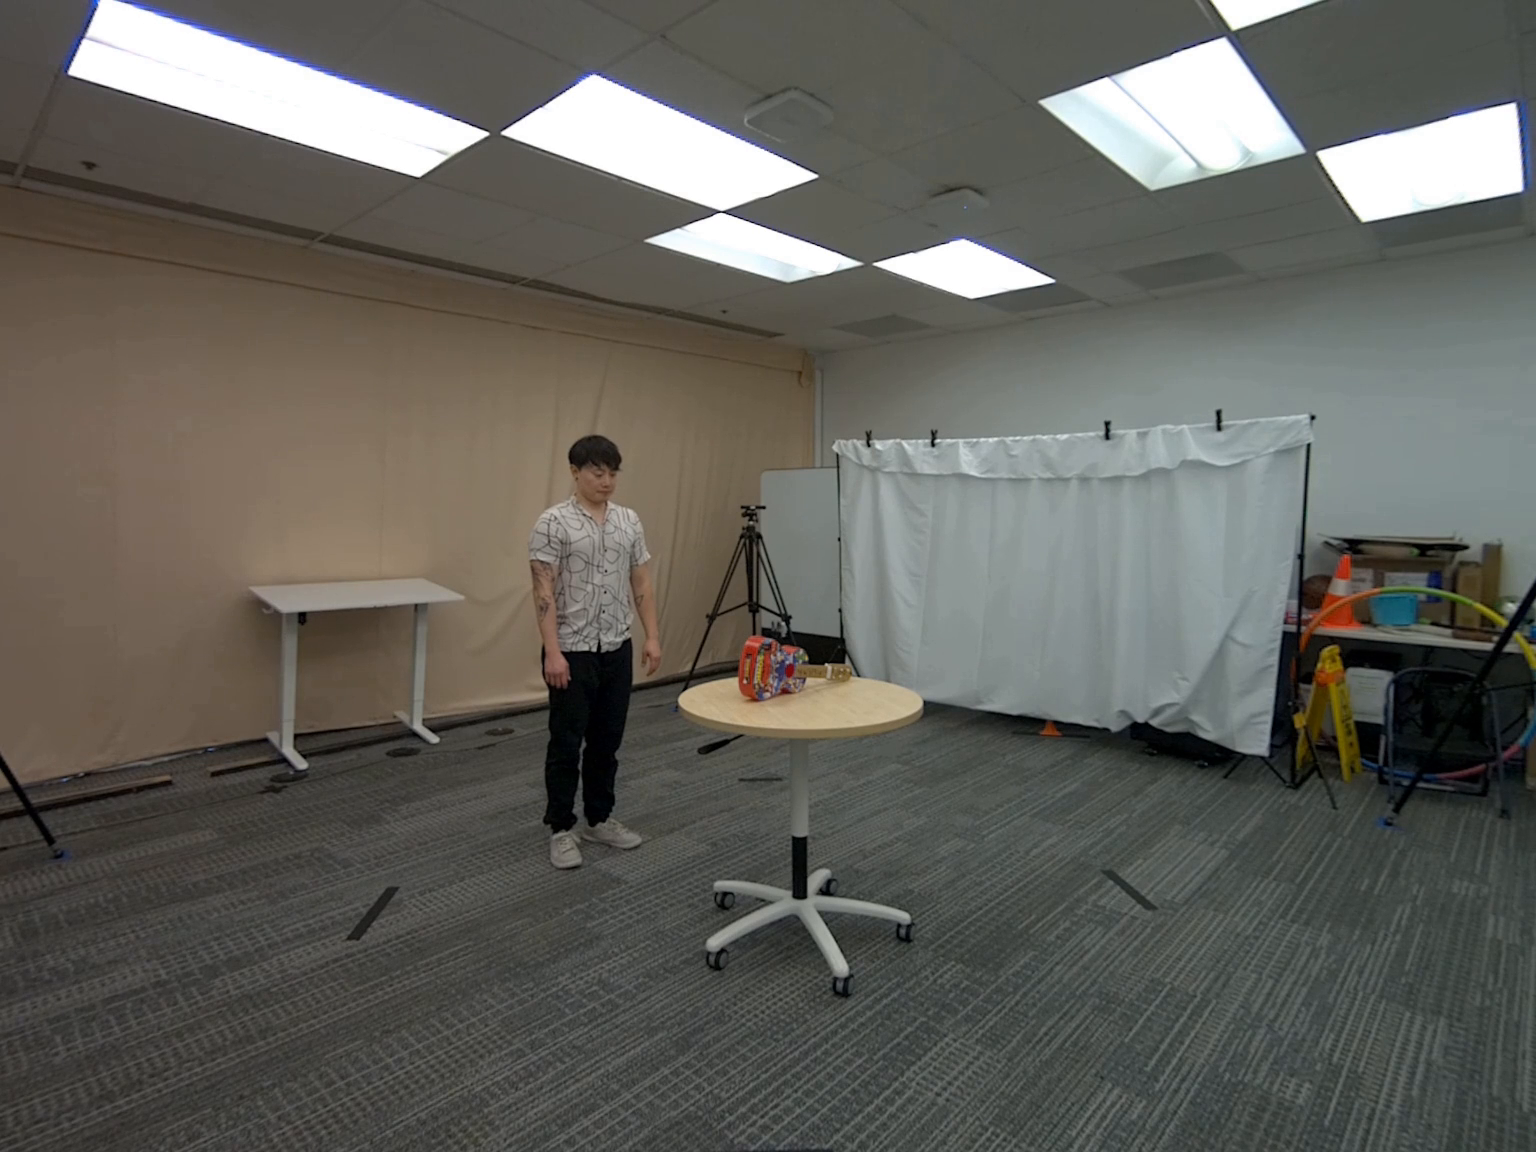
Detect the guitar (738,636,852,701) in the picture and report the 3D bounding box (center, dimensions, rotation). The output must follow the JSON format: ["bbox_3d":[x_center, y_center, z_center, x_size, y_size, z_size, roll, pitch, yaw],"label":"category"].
[{"bbox_3d":[0.096,0.338,2.764,0.073,0.194,0.480,3,-14,45],"label":"guitar"}]
